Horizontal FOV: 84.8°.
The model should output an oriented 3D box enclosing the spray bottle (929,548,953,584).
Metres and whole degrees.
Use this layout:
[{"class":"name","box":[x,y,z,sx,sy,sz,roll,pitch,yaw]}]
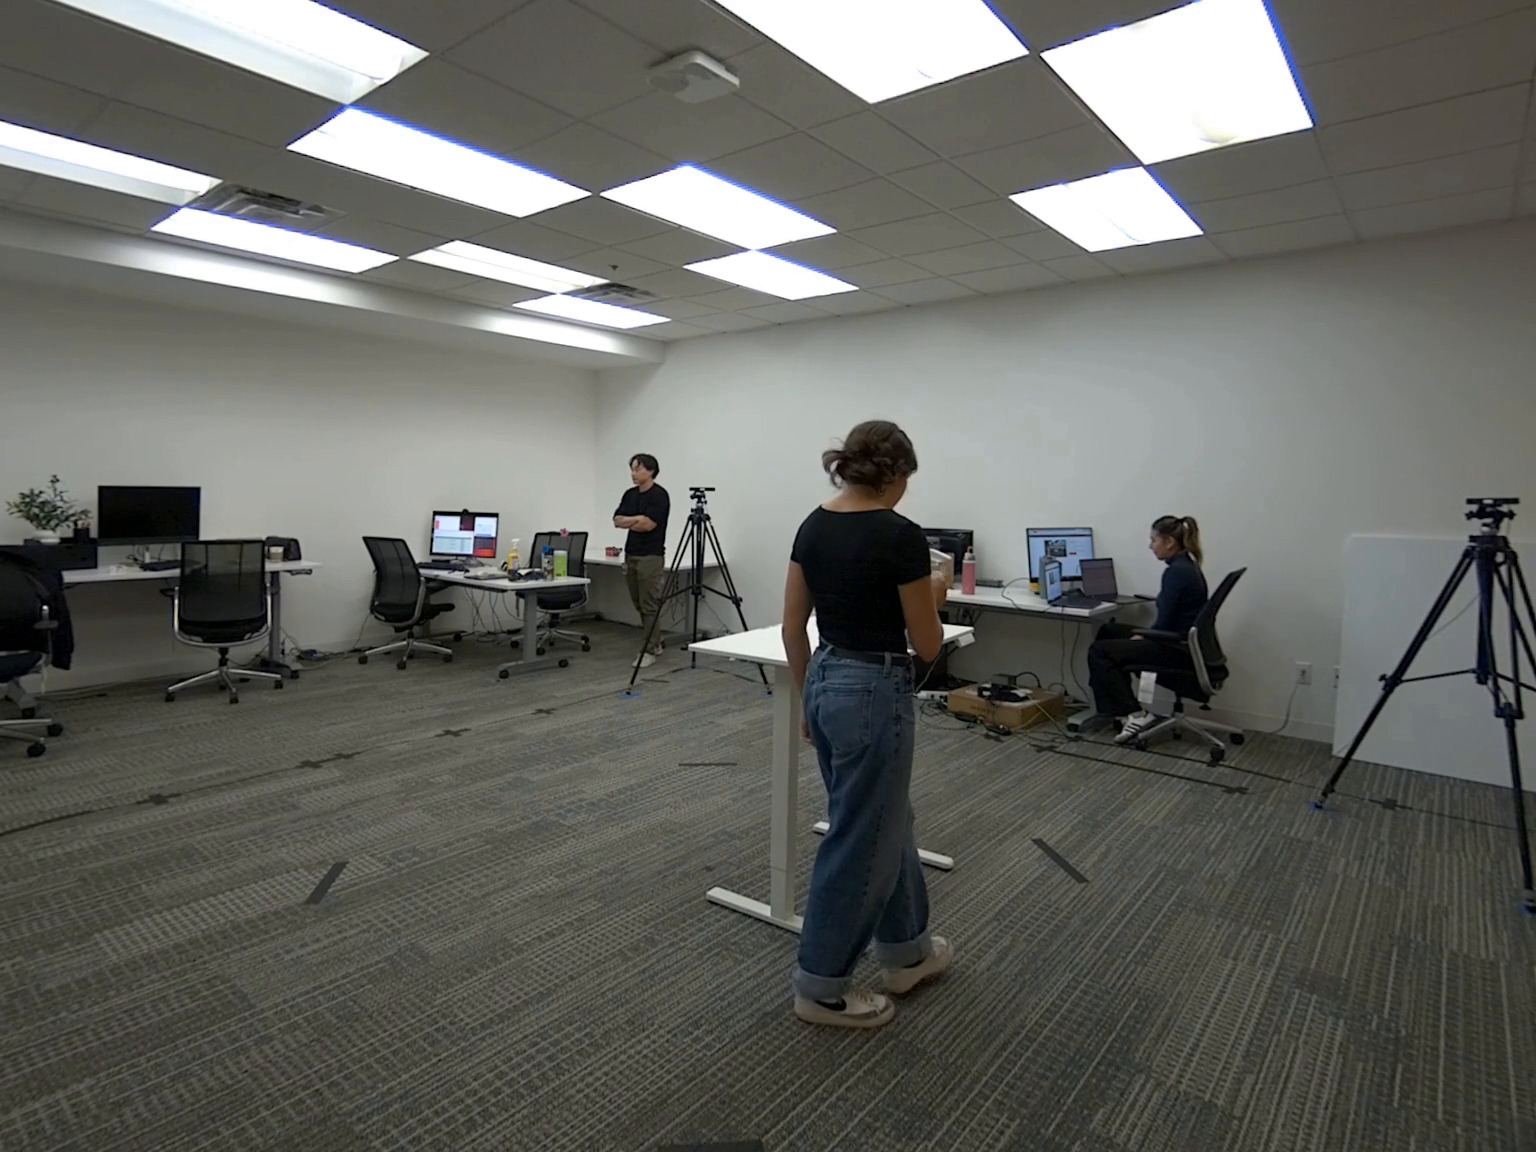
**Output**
[{"class":"spray bottle","box":[0.432,0.058,2.369,0.085,0.292,0.093,-2,25,-17]}]
